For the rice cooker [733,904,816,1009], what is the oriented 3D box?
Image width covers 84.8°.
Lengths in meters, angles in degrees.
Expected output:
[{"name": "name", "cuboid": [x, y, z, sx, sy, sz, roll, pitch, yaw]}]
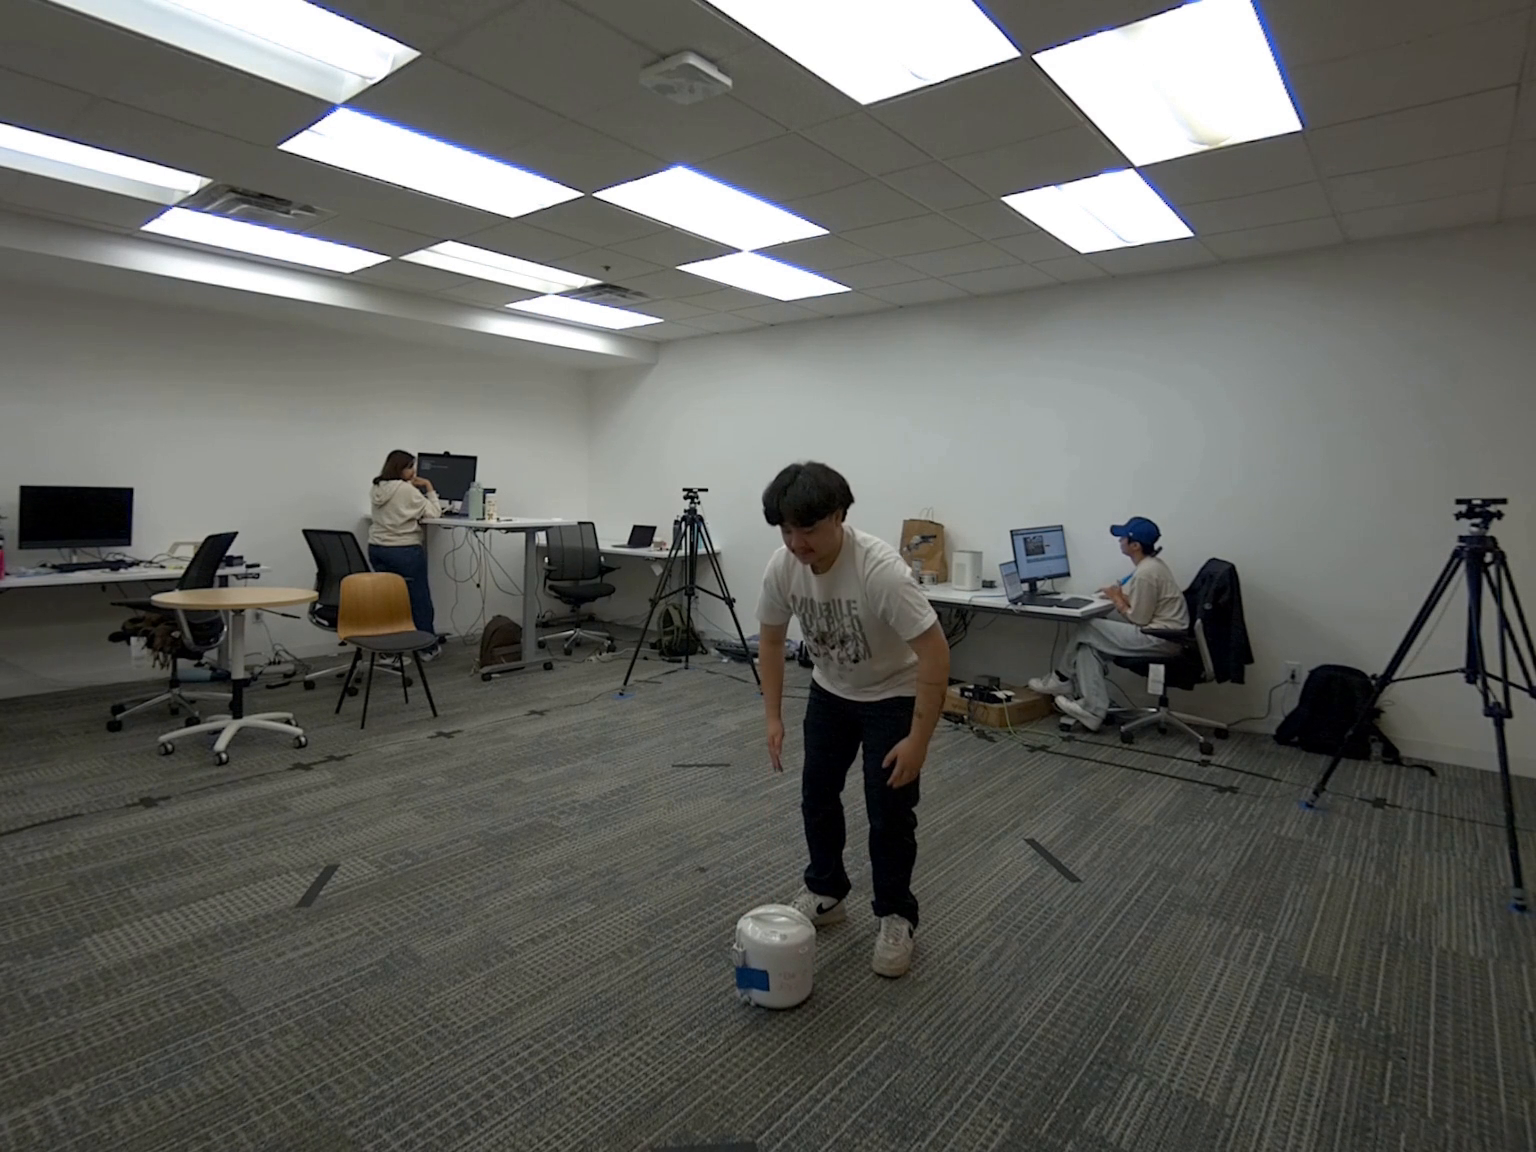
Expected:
[{"name": "rice cooker", "cuboid": [0.015, 1.029, 2.359, 0.223, 0.232, 0.216, 3, 5, 10]}]
